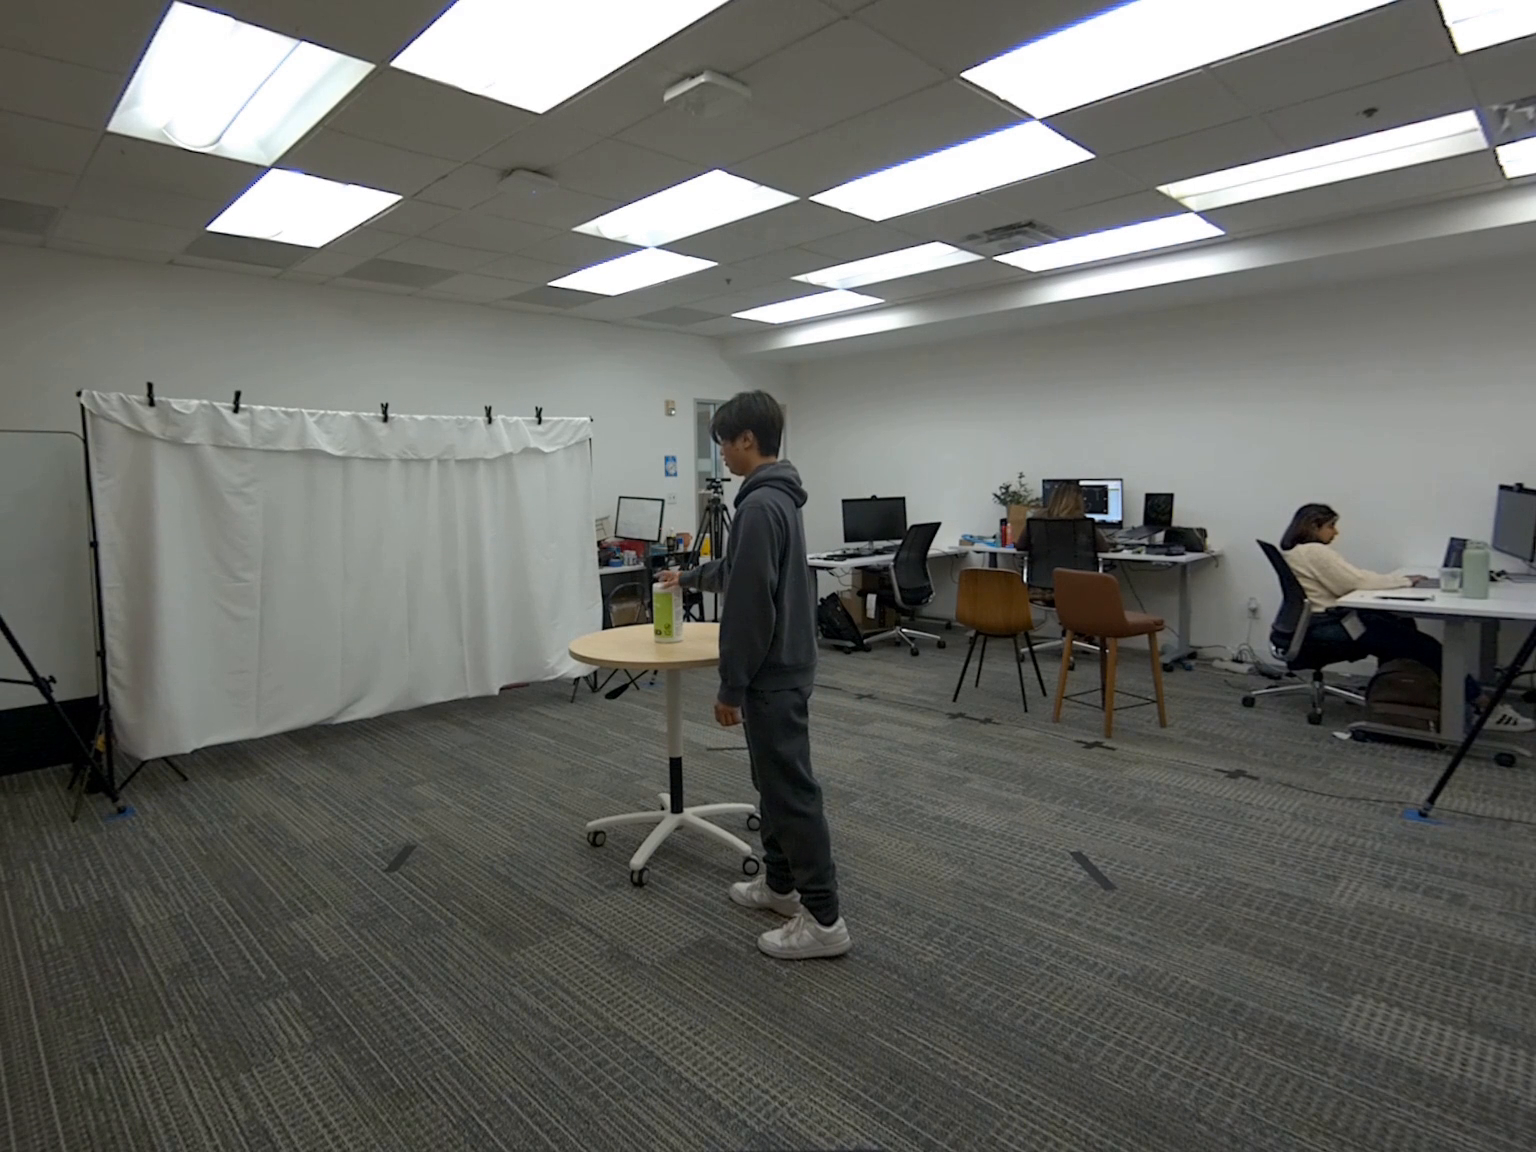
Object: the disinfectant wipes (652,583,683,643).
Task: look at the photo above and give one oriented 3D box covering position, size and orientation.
[{"bbox_3d":[-0.370,0.135,3.181,0.118,0.216,0.118,-1,5,-2],"label":"disinfectant wipes"}]
